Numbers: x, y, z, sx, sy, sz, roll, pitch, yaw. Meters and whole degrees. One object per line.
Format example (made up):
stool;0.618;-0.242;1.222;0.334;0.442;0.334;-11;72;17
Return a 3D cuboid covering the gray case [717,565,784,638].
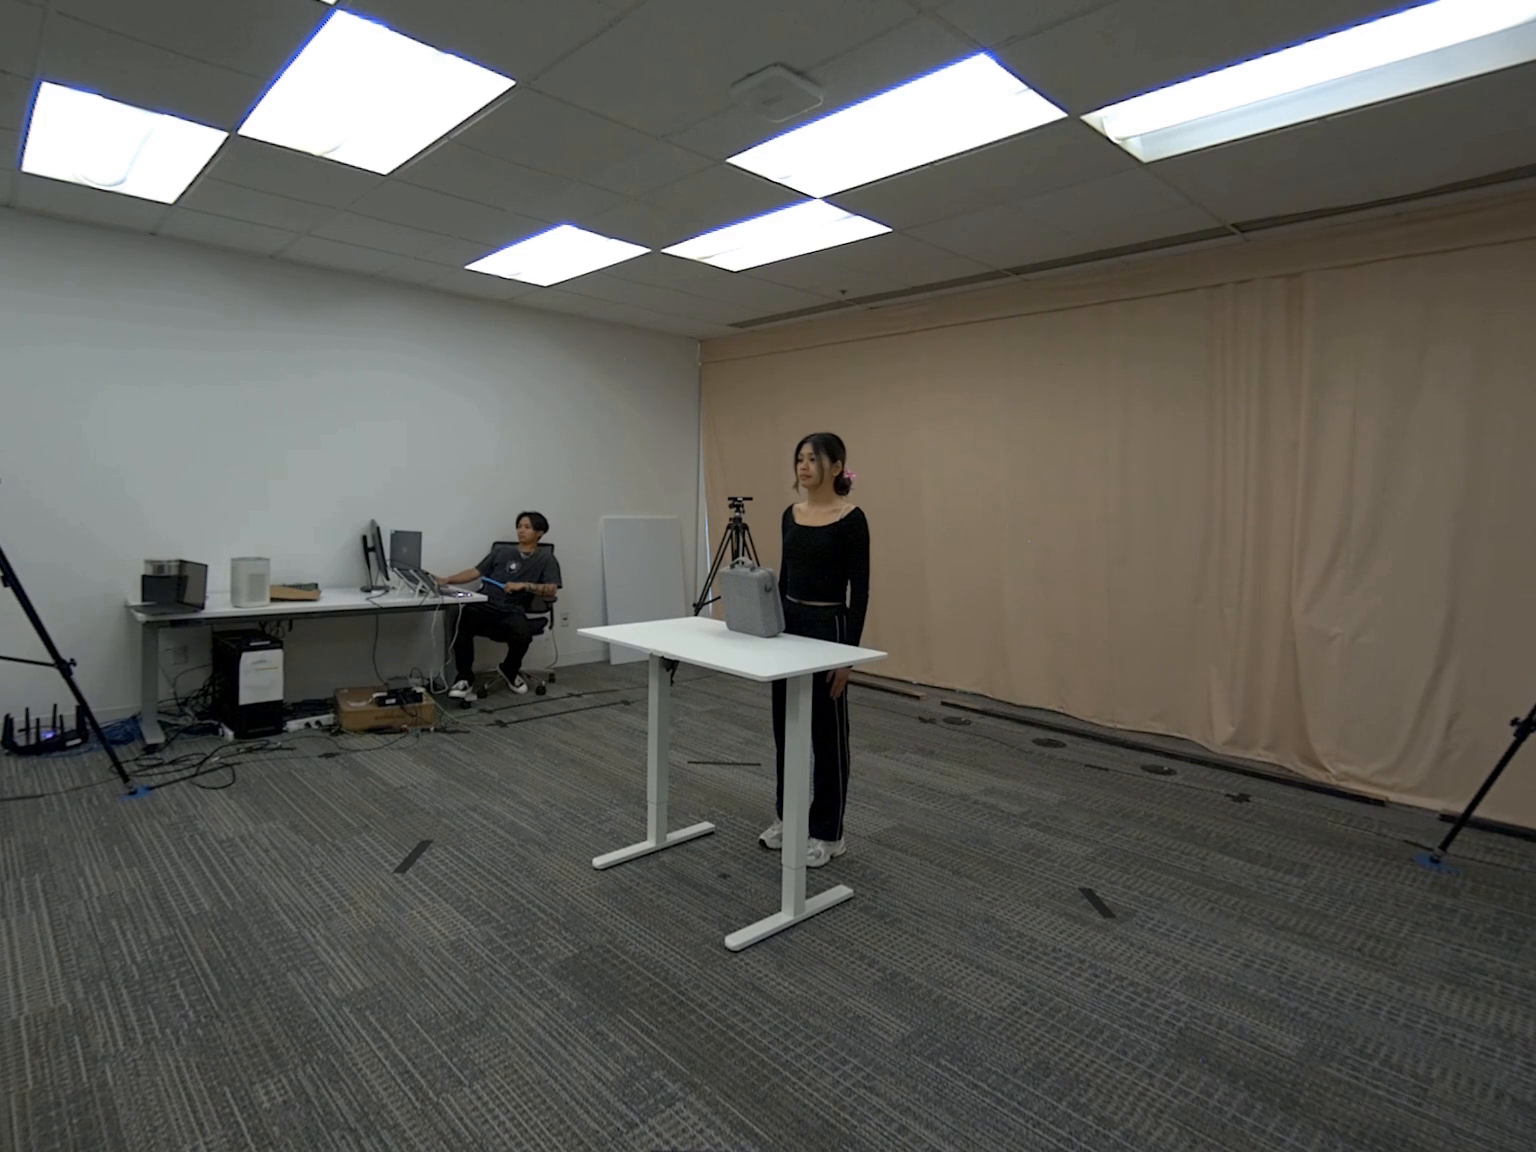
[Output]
gray case;-0.069;0.087;3.166;0.103;0.258;0.263;-16;14;-34
